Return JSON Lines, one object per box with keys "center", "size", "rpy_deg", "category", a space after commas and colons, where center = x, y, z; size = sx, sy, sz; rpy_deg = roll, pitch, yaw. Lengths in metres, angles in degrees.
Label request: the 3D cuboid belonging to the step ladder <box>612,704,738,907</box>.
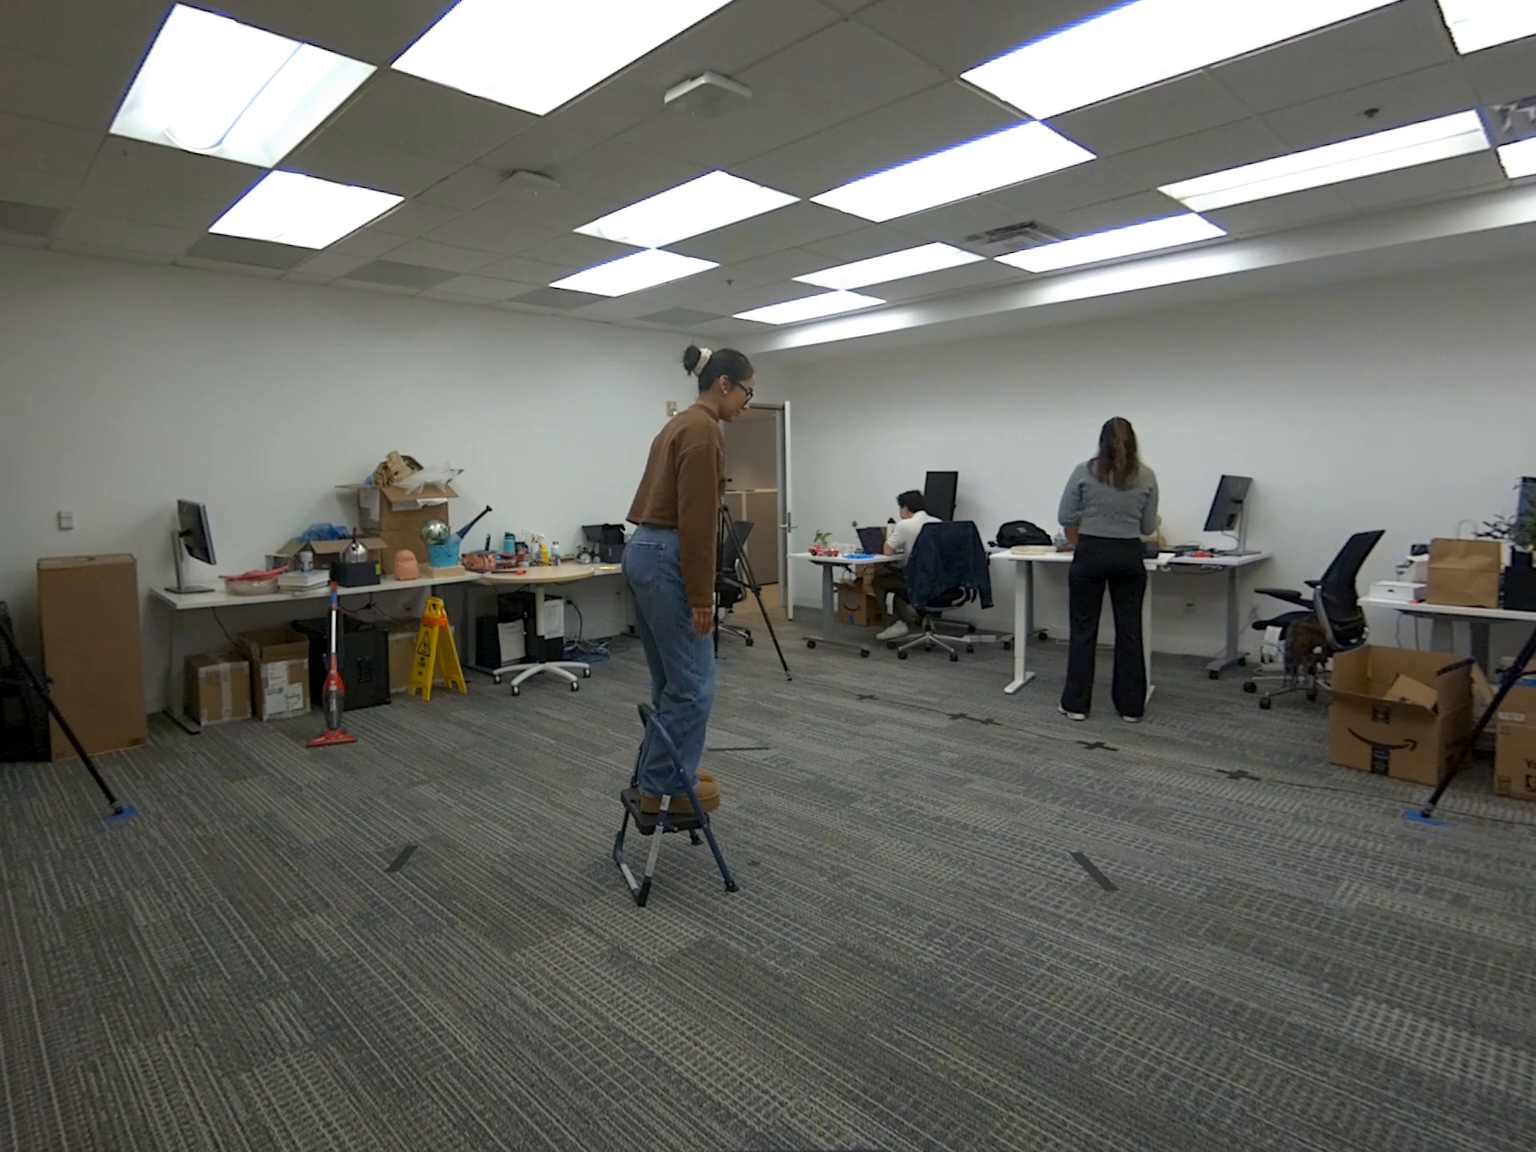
{"center": [-0.346, 0.760, 3.027], "size": [0.343, 0.604, 0.440], "rpy_deg": [-2, 5, -22], "category": "step ladder"}
